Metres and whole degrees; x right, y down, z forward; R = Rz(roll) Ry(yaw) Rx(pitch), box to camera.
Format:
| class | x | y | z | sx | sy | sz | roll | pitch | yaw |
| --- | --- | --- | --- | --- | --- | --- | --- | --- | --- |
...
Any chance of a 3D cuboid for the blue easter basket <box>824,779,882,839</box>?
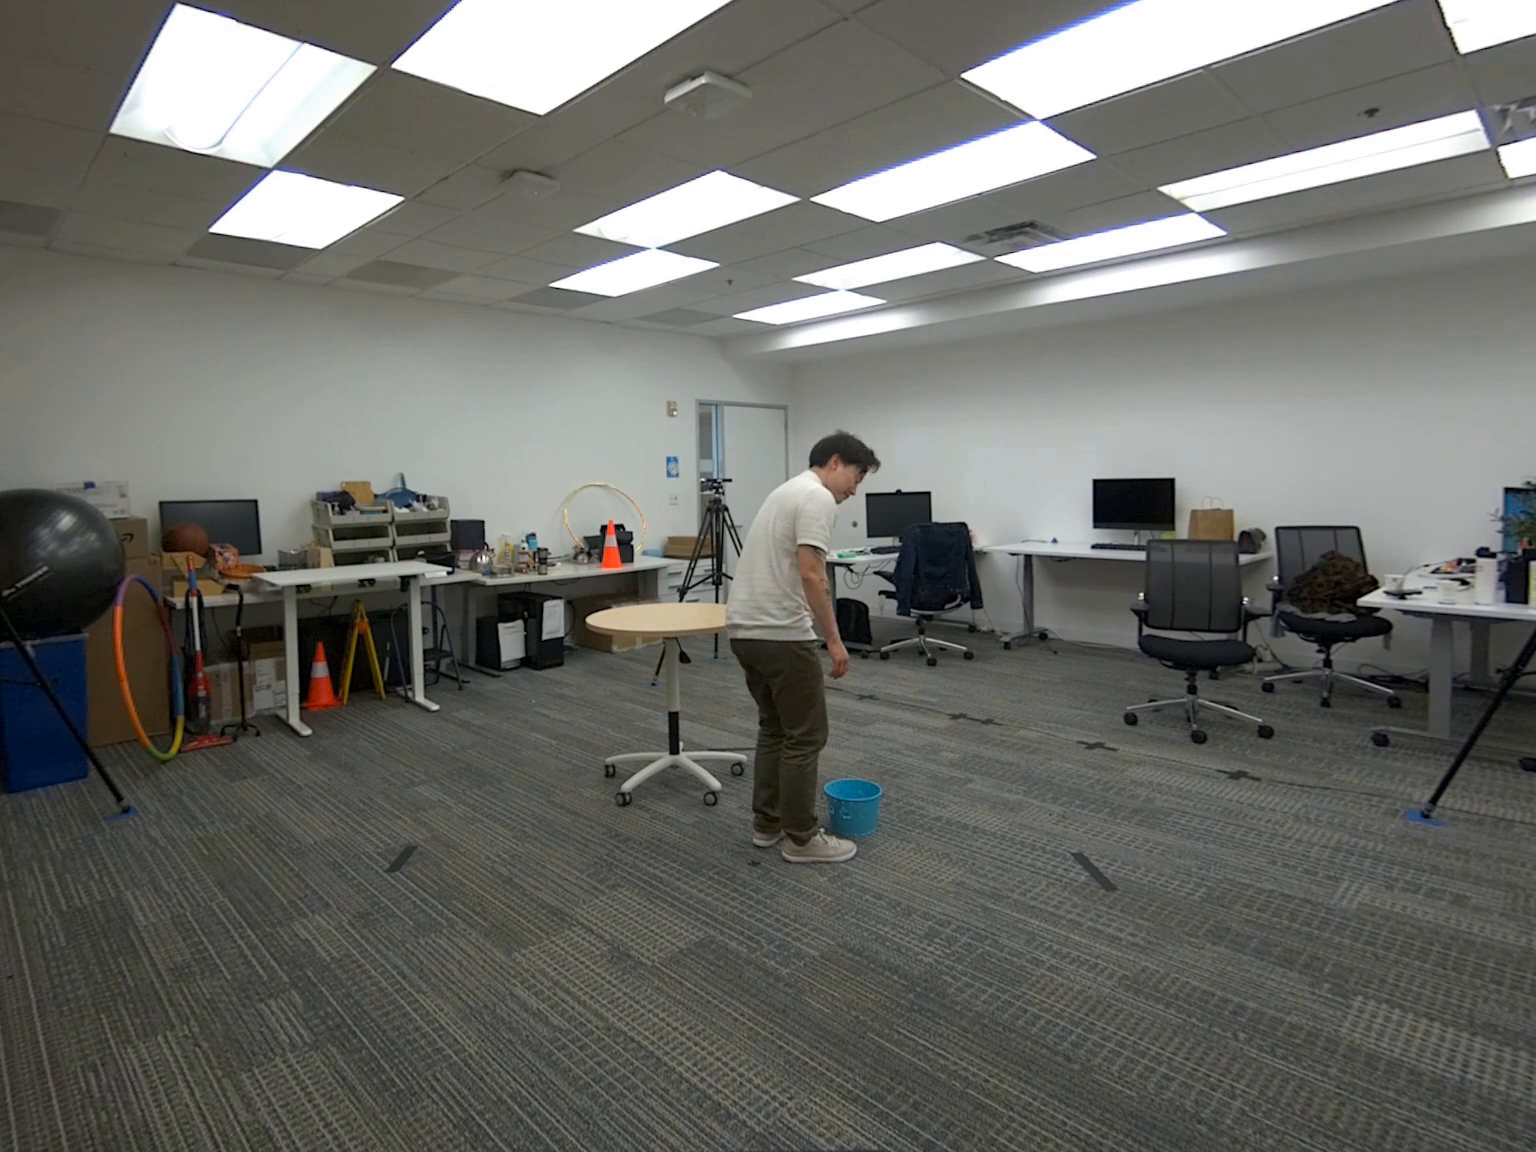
| class | x | y | z | sx | sy | sz | roll | pitch | yaw |
| --- | --- | --- | --- | --- | --- | --- | --- | --- | --- |
| blue easter basket | 0.339 | 0.921 | 3.424 | 0.243 | 0.155 | 0.245 | -1 | 6 | -2 |
